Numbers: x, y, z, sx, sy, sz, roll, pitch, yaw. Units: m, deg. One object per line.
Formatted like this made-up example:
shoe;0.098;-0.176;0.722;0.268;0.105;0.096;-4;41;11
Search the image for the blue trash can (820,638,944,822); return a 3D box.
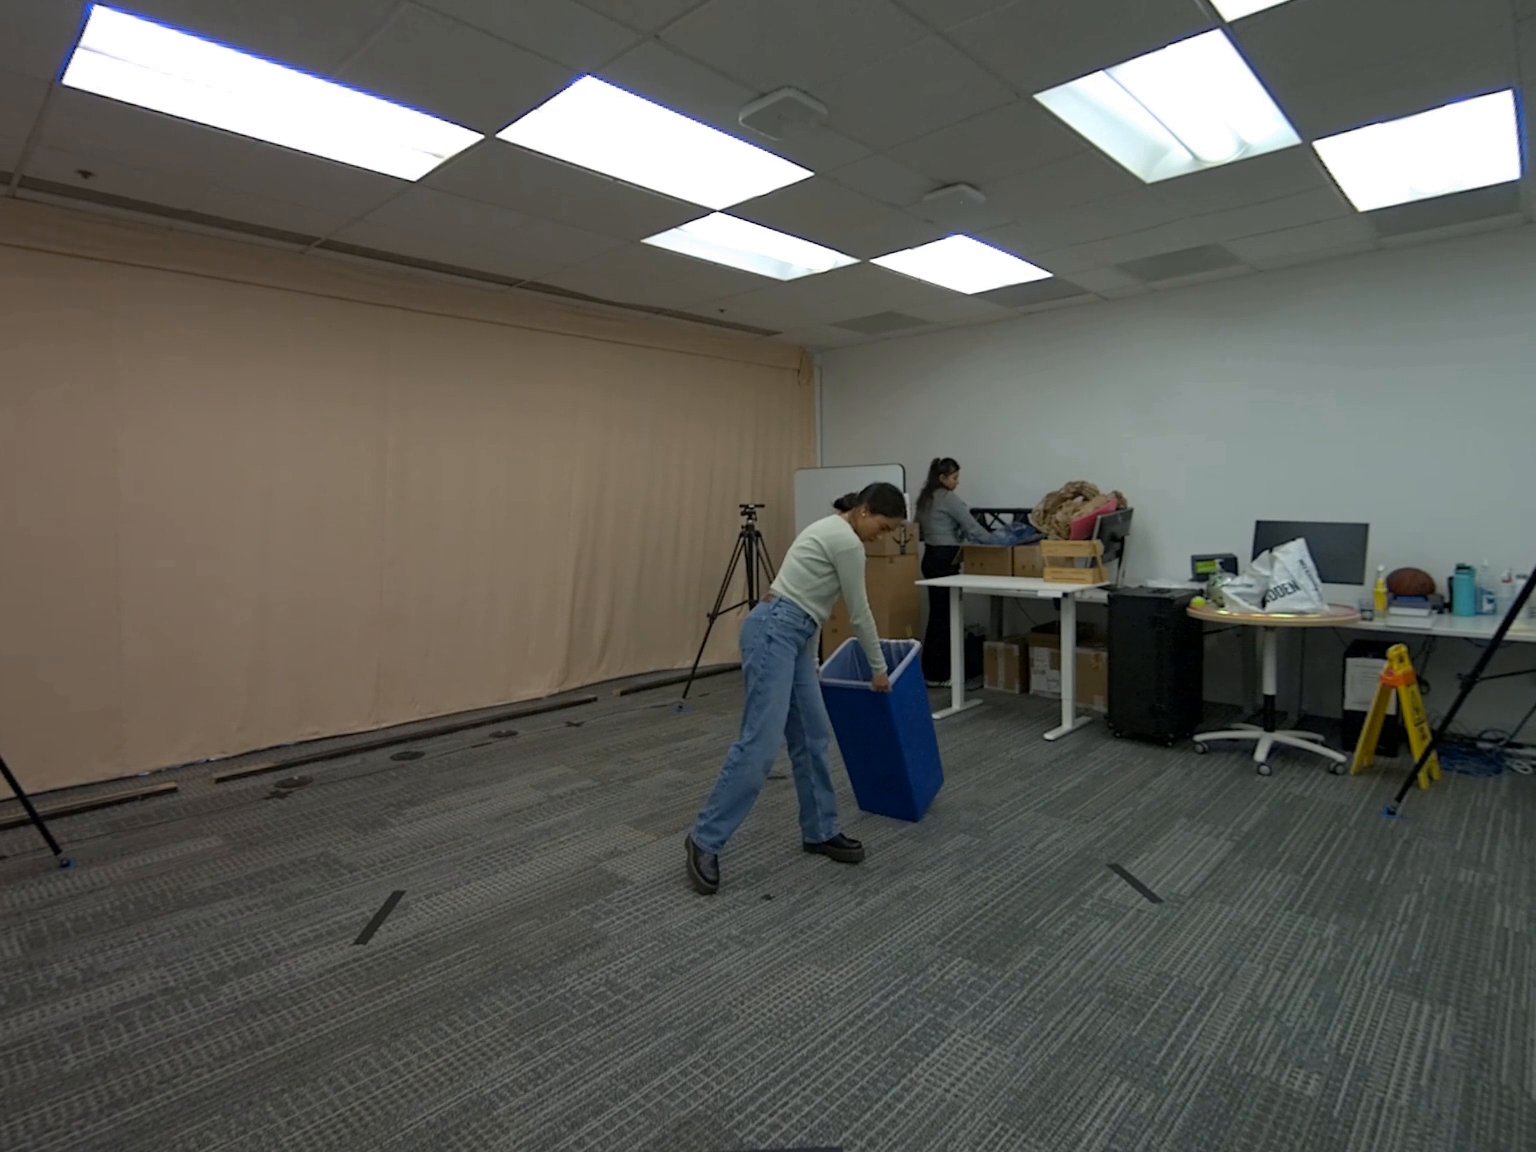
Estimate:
blue trash can;0.528;0.682;3.715;0.390;0.702;0.368;-1;23;38
